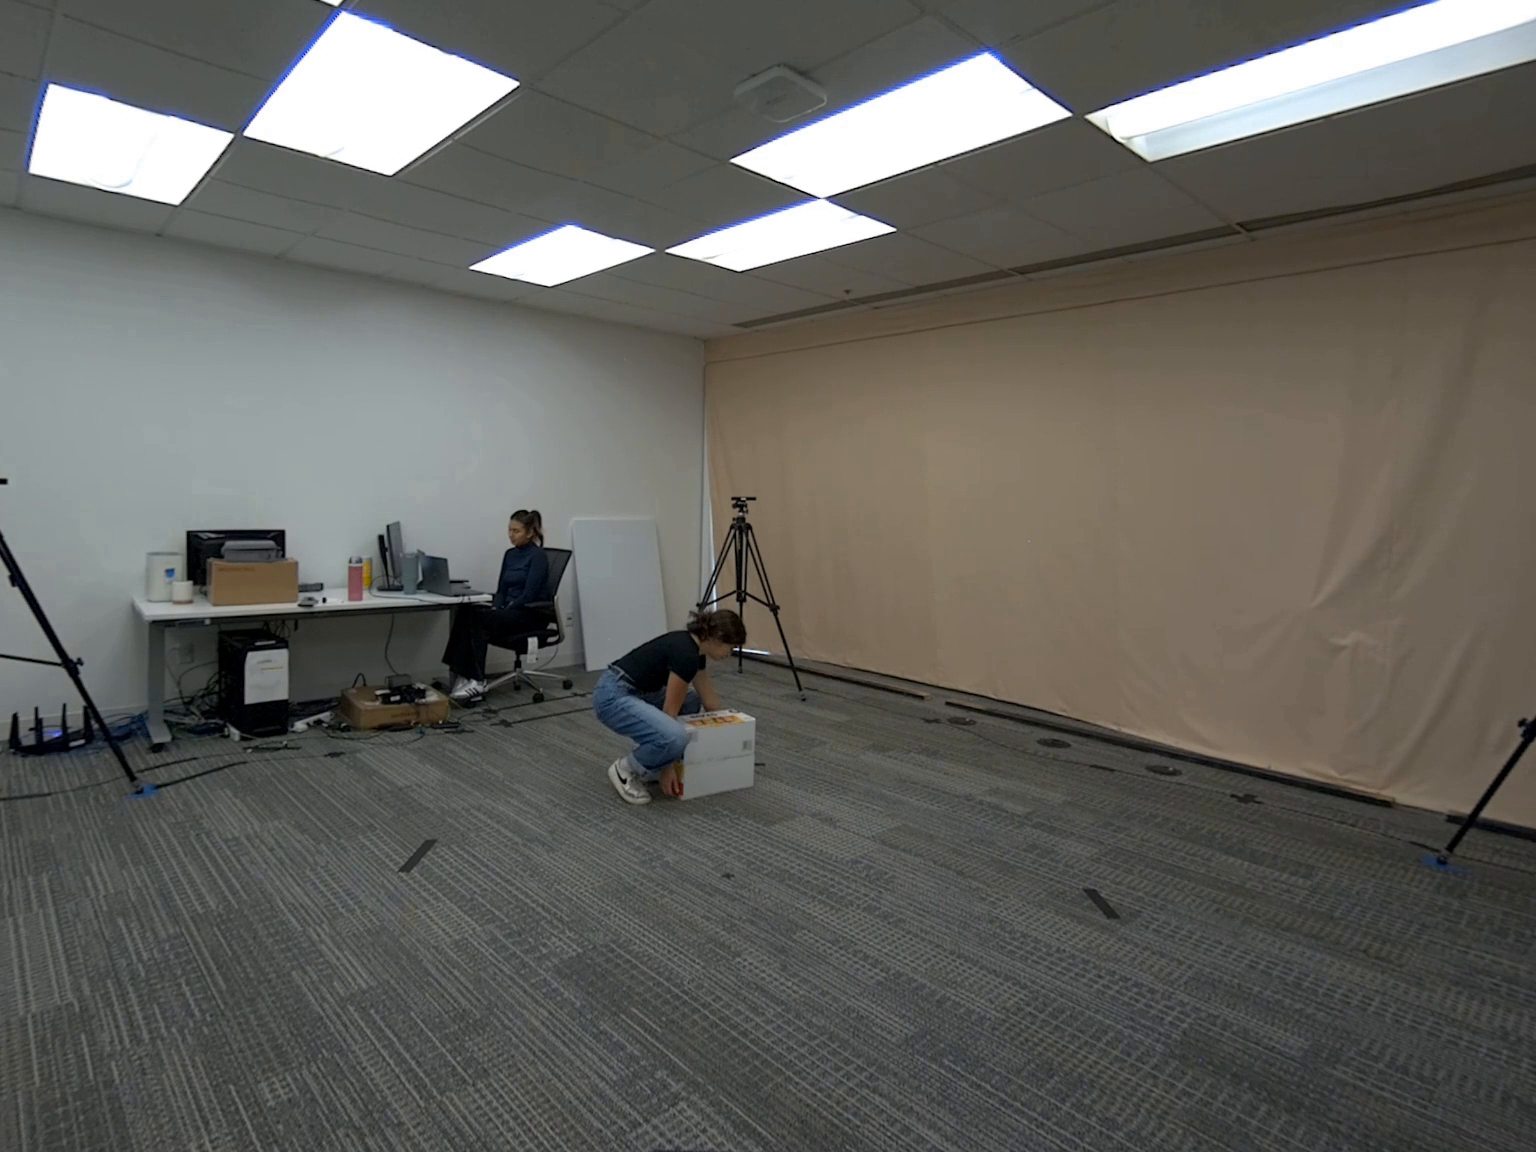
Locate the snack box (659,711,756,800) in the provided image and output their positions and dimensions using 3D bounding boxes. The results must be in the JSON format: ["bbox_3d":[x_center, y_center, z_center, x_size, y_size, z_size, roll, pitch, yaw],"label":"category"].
[{"bbox_3d":[-0.296,0.852,4.055,0.396,0.339,0.211,-1,6,-35],"label":"snack box"}]
